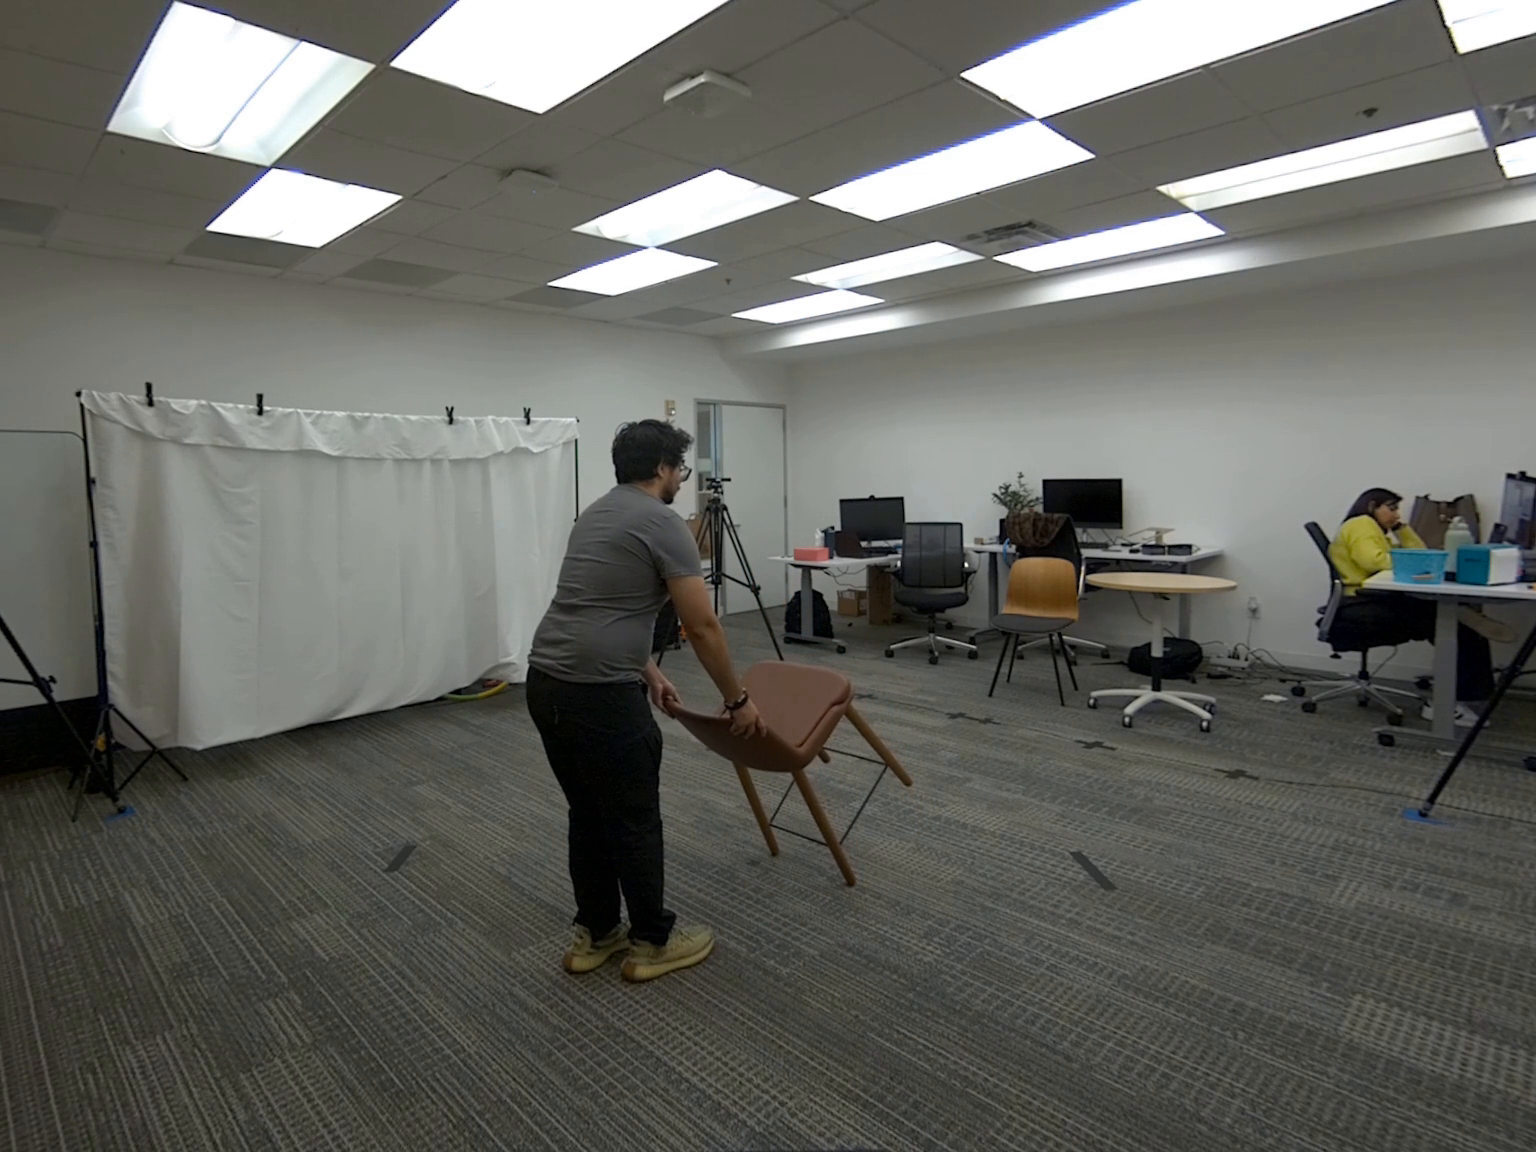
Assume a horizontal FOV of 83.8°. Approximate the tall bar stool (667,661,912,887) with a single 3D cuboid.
[{"bbox_3d":[0.083,0.584,2.950,0.471,0.860,0.469,5,46,44],"label":"tall bar stool"}]
